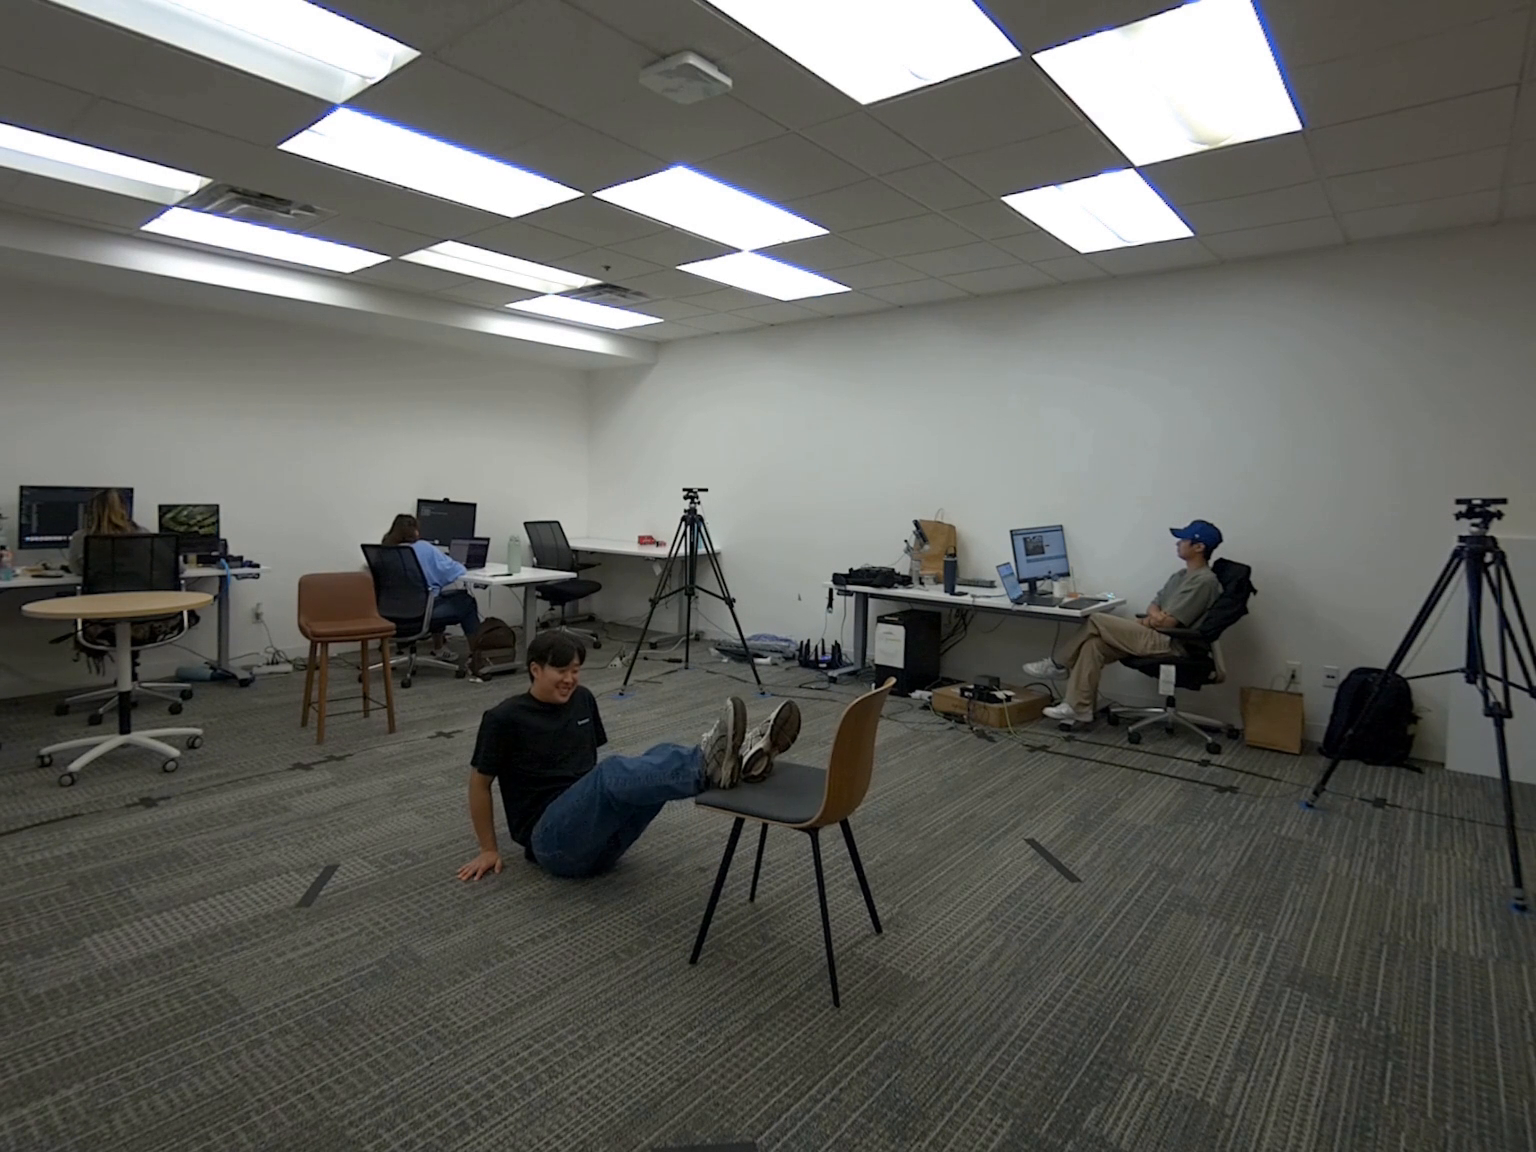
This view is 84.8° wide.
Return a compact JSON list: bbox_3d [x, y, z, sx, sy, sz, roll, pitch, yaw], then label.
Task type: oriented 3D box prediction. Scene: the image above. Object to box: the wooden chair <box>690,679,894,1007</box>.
[{"bbox_3d":[0.060,0.700,2.565,0.537,0.874,0.467,7,5,24],"label":"wooden chair"}]
